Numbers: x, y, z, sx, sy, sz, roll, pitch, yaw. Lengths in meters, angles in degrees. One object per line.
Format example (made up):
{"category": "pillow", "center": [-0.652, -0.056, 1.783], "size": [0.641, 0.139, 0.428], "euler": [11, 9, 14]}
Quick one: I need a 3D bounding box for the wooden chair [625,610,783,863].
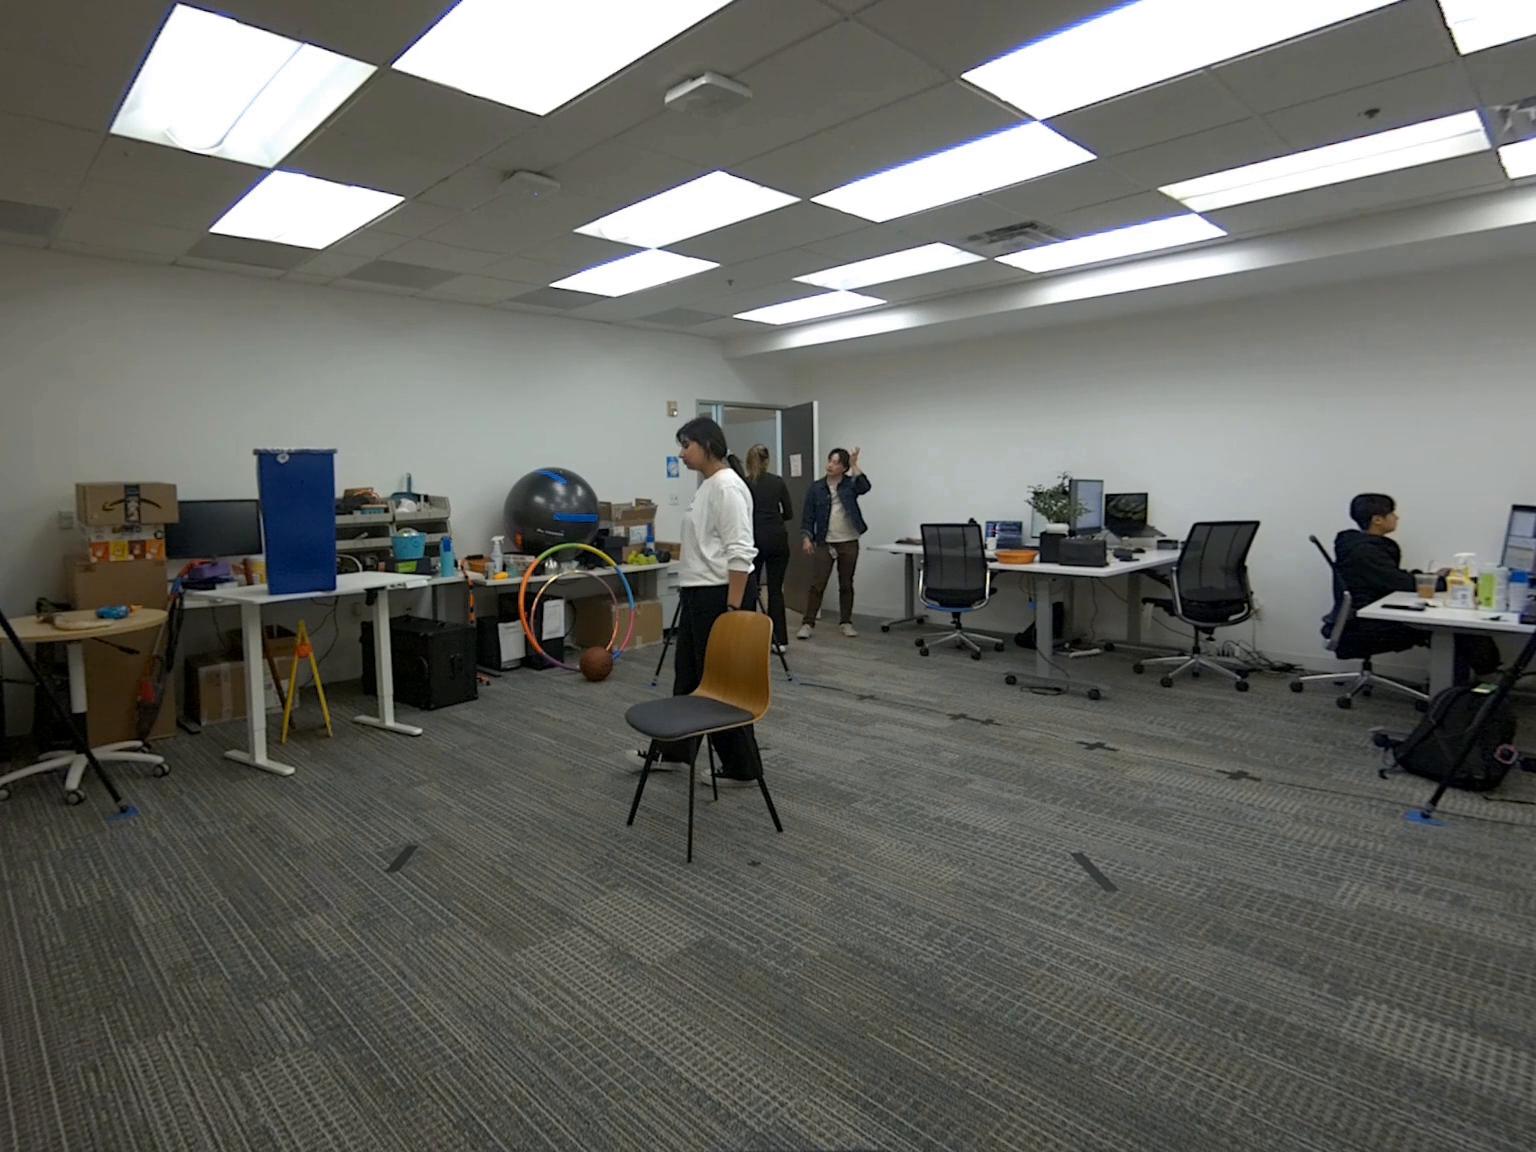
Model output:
{"category": "wooden chair", "center": [-0.269, 0.592, 3.392], "size": [0.508, 0.876, 0.492], "euler": [1, 2, -38]}
